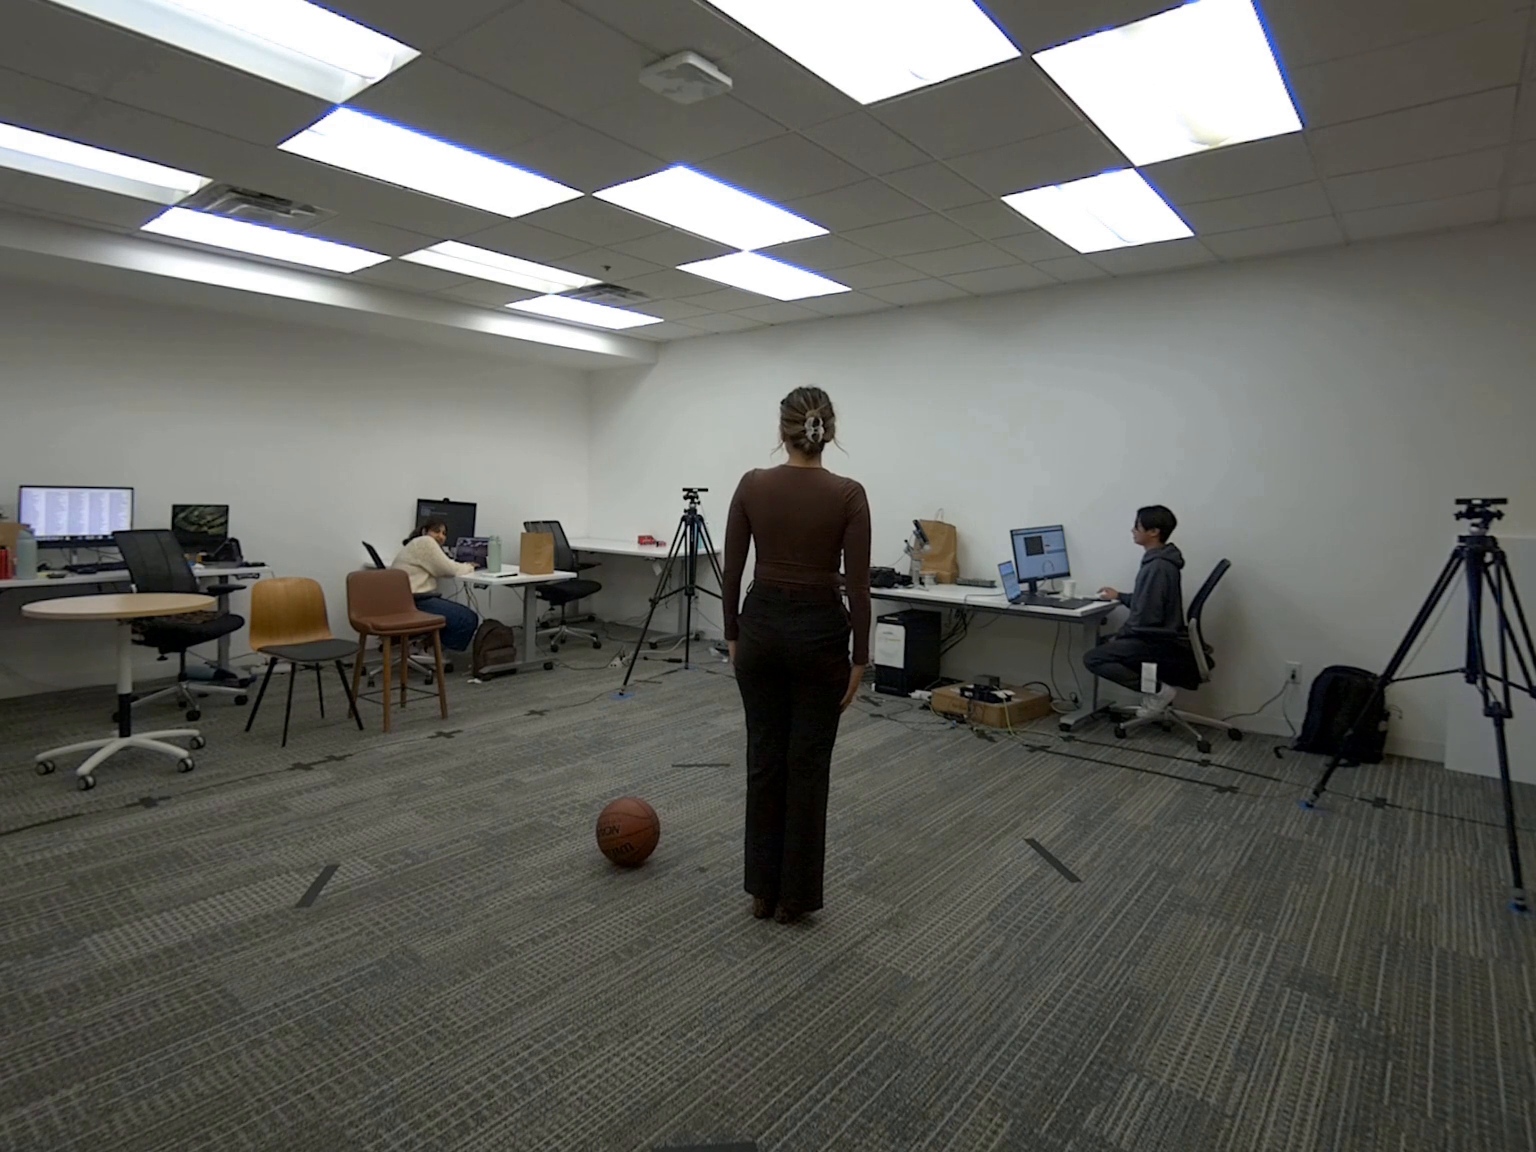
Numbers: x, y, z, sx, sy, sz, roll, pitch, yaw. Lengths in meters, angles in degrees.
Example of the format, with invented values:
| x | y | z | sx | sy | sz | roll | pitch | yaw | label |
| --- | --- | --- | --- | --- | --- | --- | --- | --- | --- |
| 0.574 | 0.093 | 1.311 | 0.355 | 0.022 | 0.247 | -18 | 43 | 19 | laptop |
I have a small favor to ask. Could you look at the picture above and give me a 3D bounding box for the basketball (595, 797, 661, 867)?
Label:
| x | y | z | sx | sy | sz | roll | pitch | yaw | label |
| --- | --- | --- | --- | --- | --- | --- | --- | --- | --- |
| -0.530 | 0.936 | 3.152 | 0.236 | 0.235 | 0.237 | 1 | 4 | -2 | basketball |
